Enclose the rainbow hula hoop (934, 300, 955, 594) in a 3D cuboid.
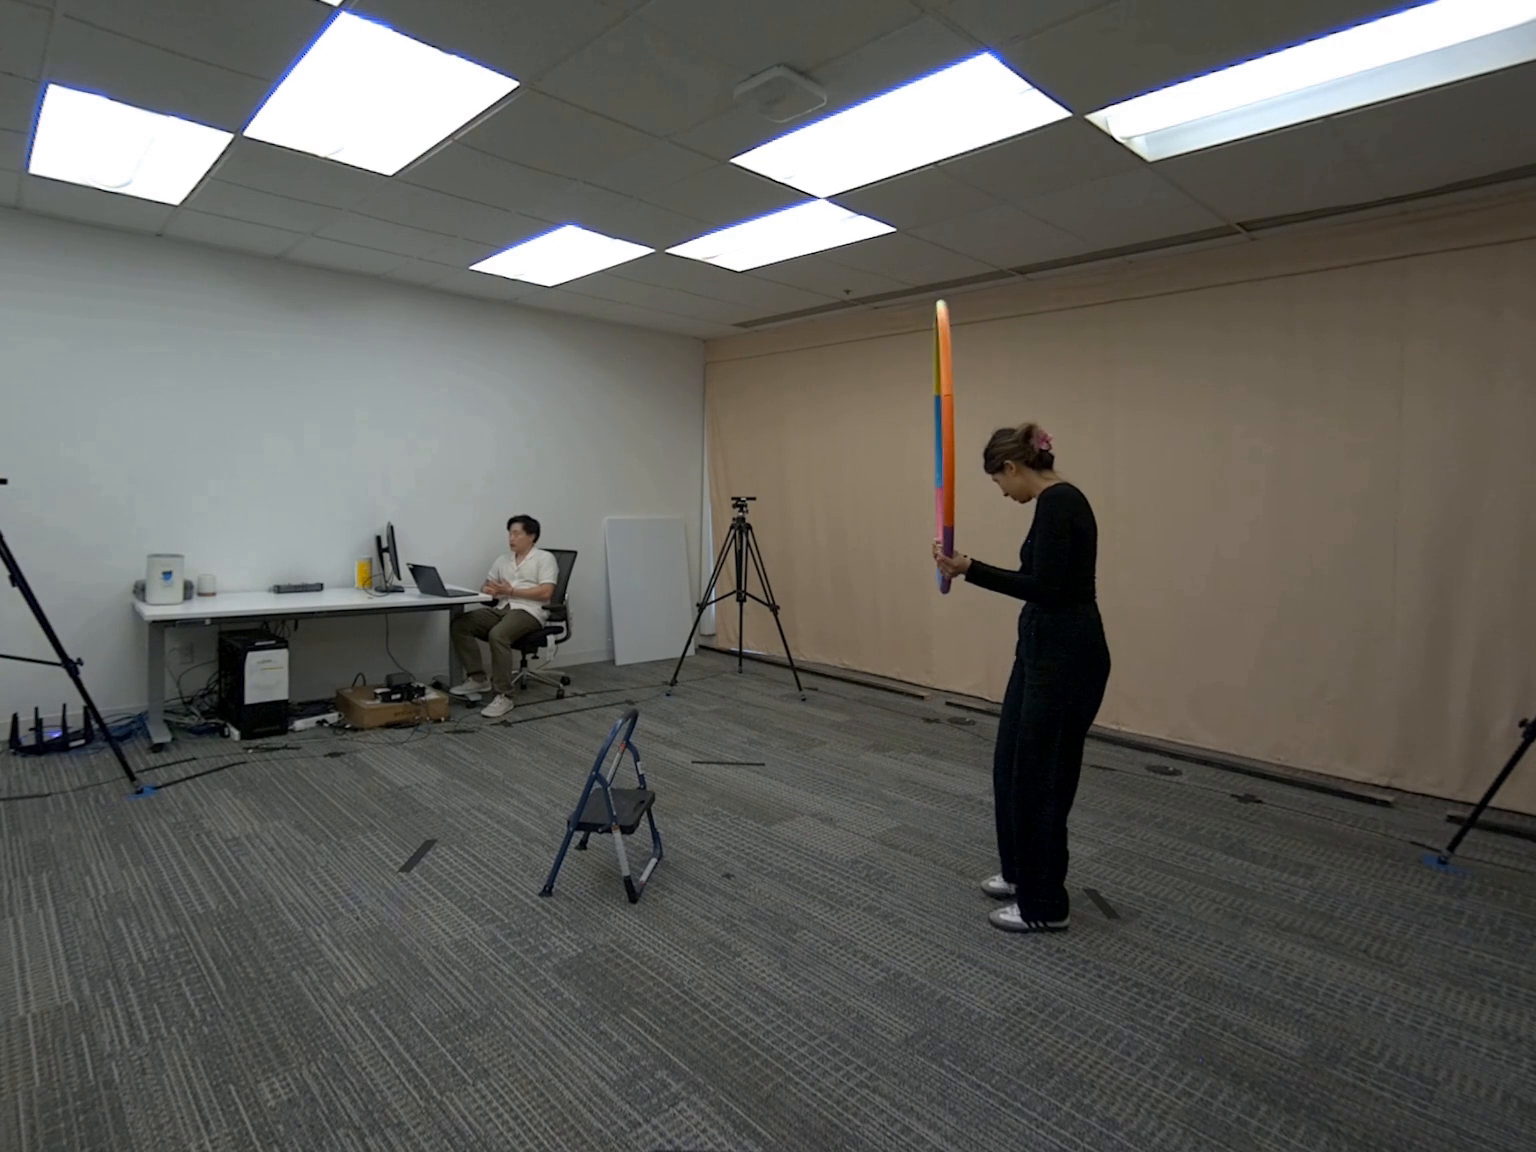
[{"bbox_3d":[0.590,-0.425,2.863,0.036,0.976,0.971,-1,4,11],"label":"rainbow hula hoop"}]
